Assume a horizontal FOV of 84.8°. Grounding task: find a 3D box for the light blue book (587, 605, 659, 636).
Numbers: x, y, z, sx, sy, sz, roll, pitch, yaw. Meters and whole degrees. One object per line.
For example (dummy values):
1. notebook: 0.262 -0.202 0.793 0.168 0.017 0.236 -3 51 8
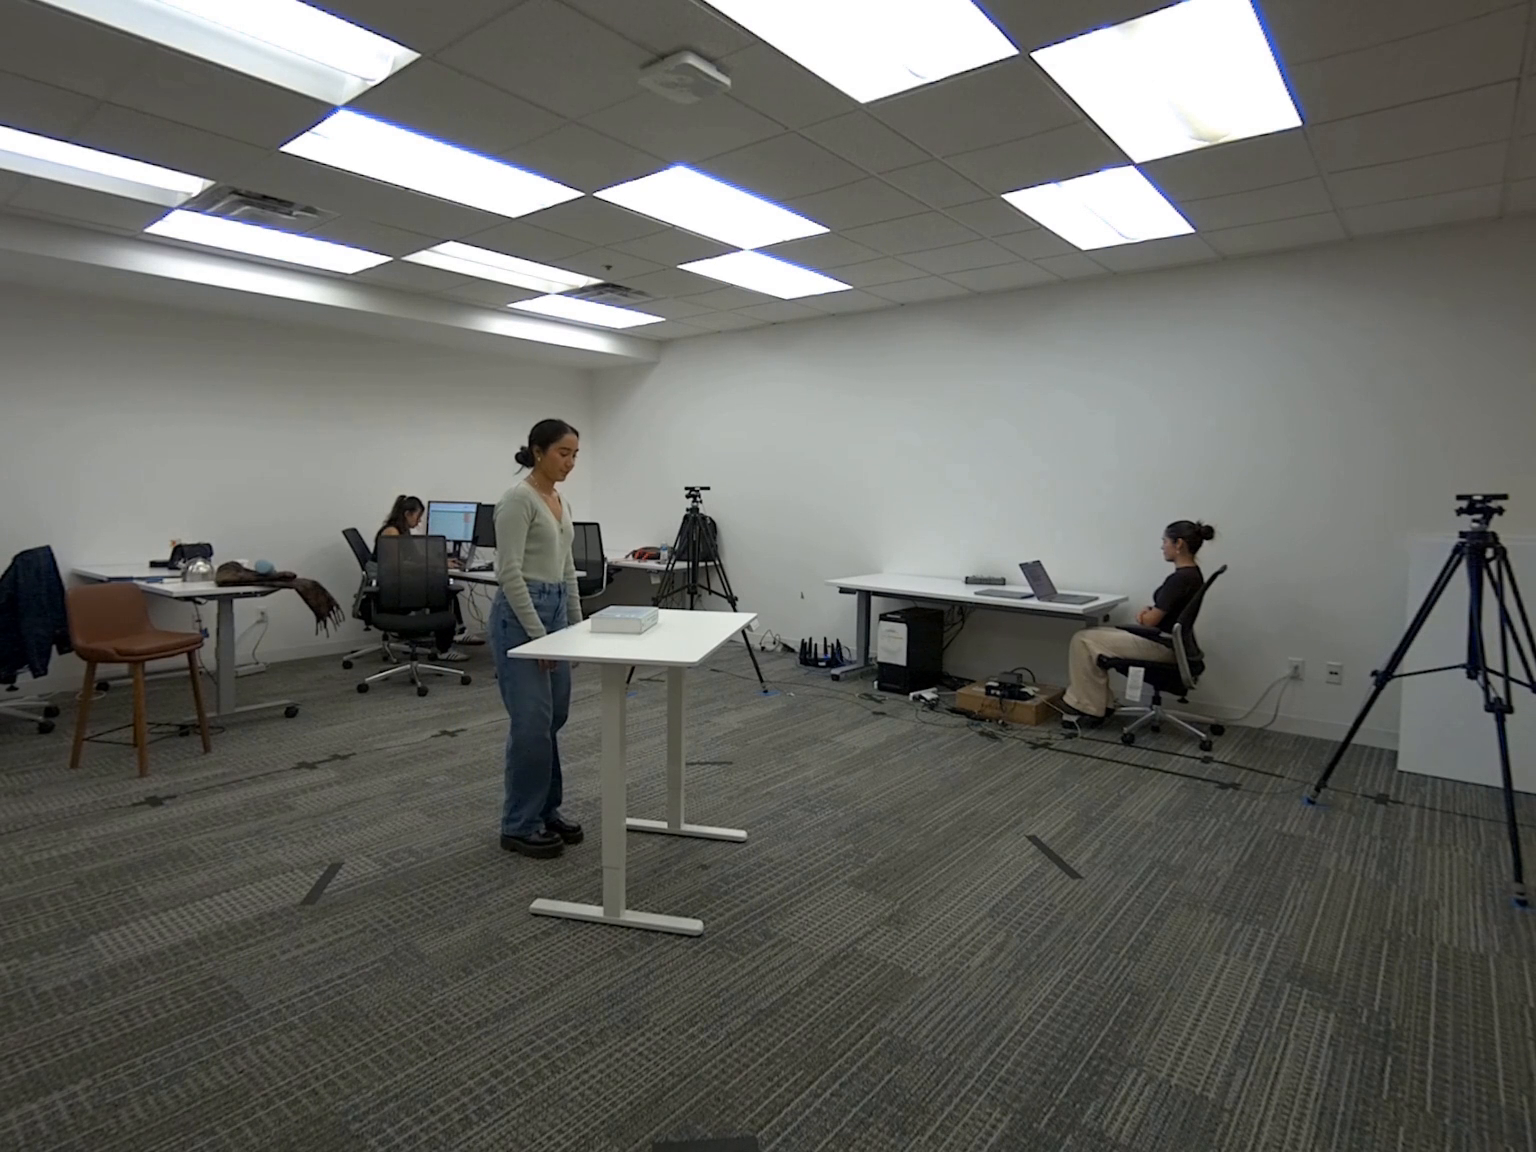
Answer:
1. light blue book: -0.531 0.156 3.070 0.193 0.059 0.260 0 6 7
